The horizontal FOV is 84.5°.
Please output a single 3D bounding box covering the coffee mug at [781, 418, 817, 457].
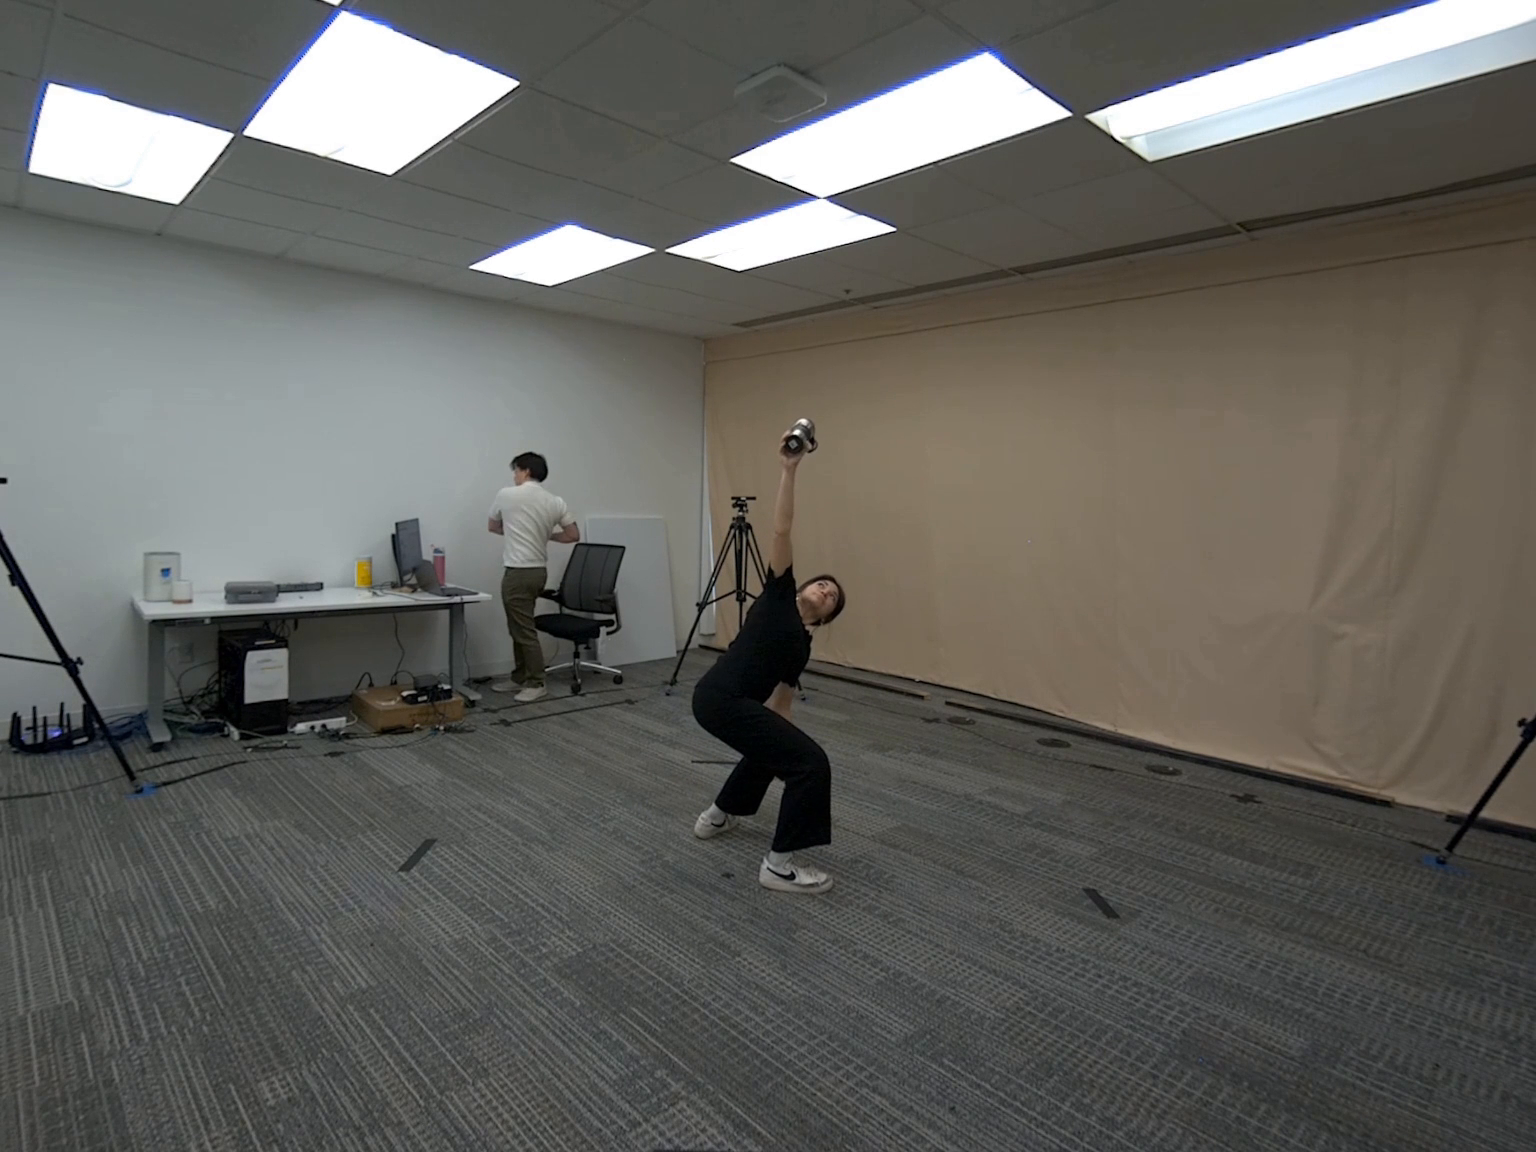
[{"bbox_3d":[0.131,-0.523,3.179,0.122,0.087,0.204,26,28,-1],"label":"coffee mug"}]
